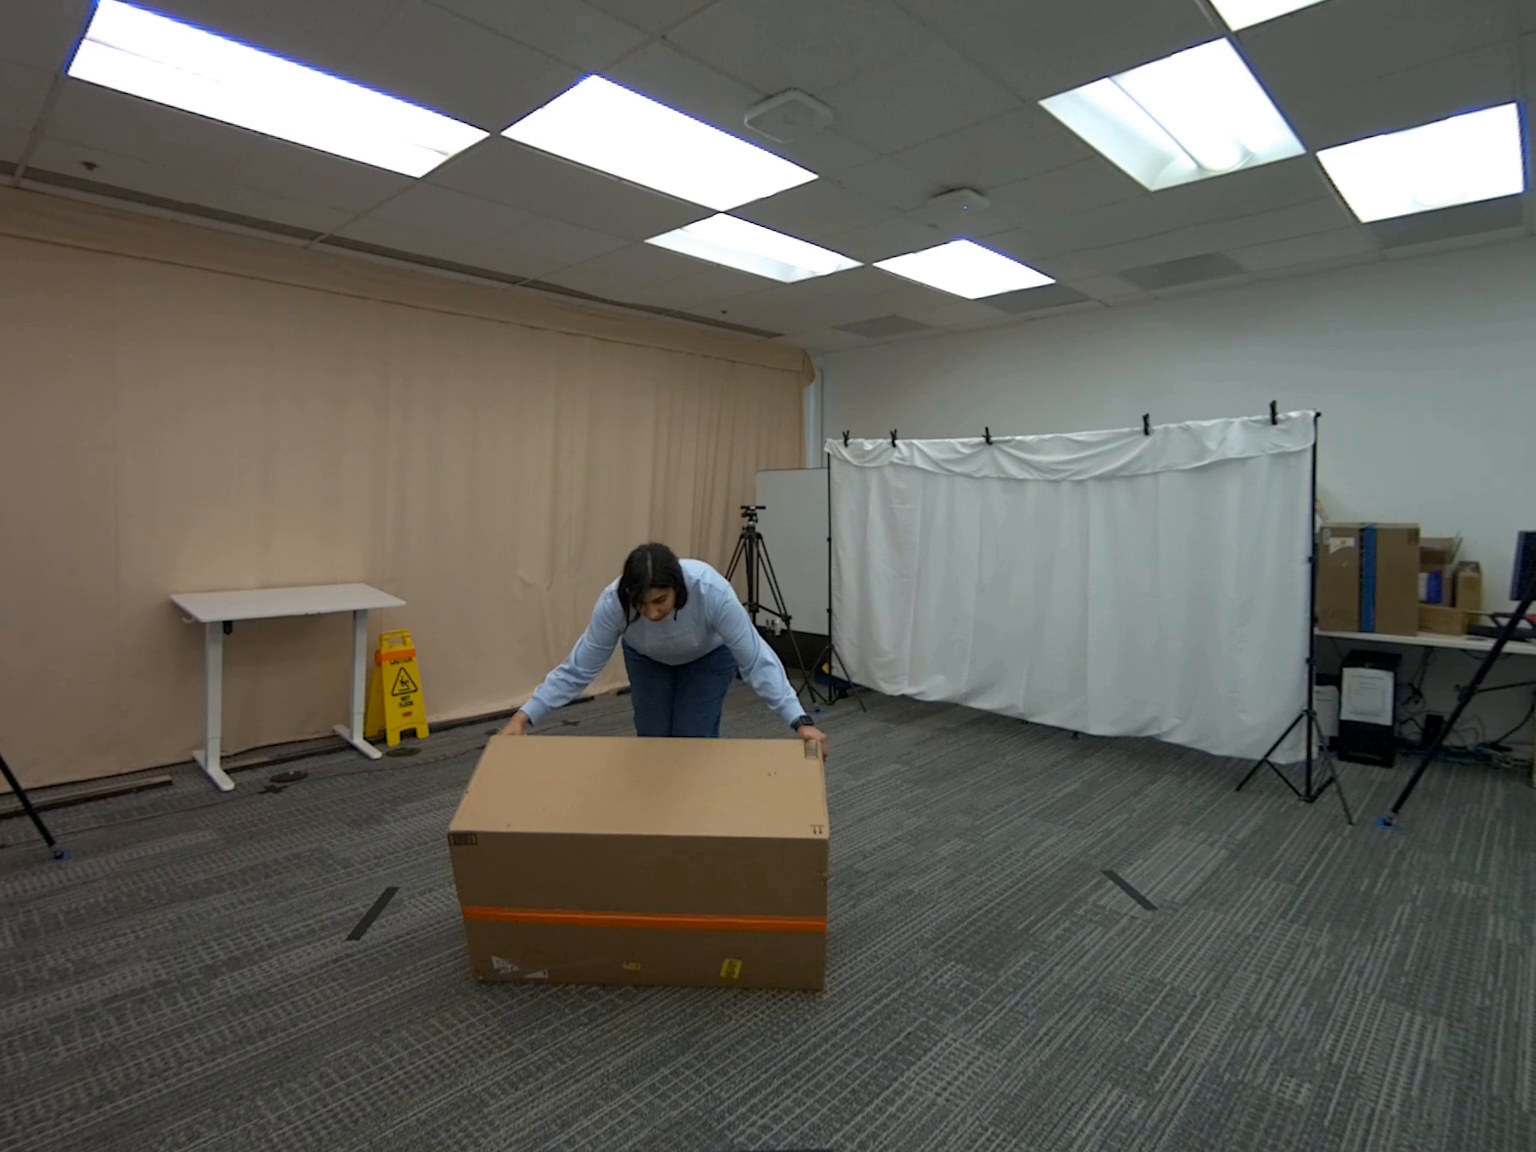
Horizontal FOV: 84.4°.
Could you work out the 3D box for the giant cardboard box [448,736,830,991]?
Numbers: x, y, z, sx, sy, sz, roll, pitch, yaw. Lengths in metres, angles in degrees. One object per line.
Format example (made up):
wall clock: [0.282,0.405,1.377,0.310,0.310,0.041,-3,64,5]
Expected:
giant cardboard box: [-0.350,0.842,2.506,1.029,0.569,0.431,0,24,3]
